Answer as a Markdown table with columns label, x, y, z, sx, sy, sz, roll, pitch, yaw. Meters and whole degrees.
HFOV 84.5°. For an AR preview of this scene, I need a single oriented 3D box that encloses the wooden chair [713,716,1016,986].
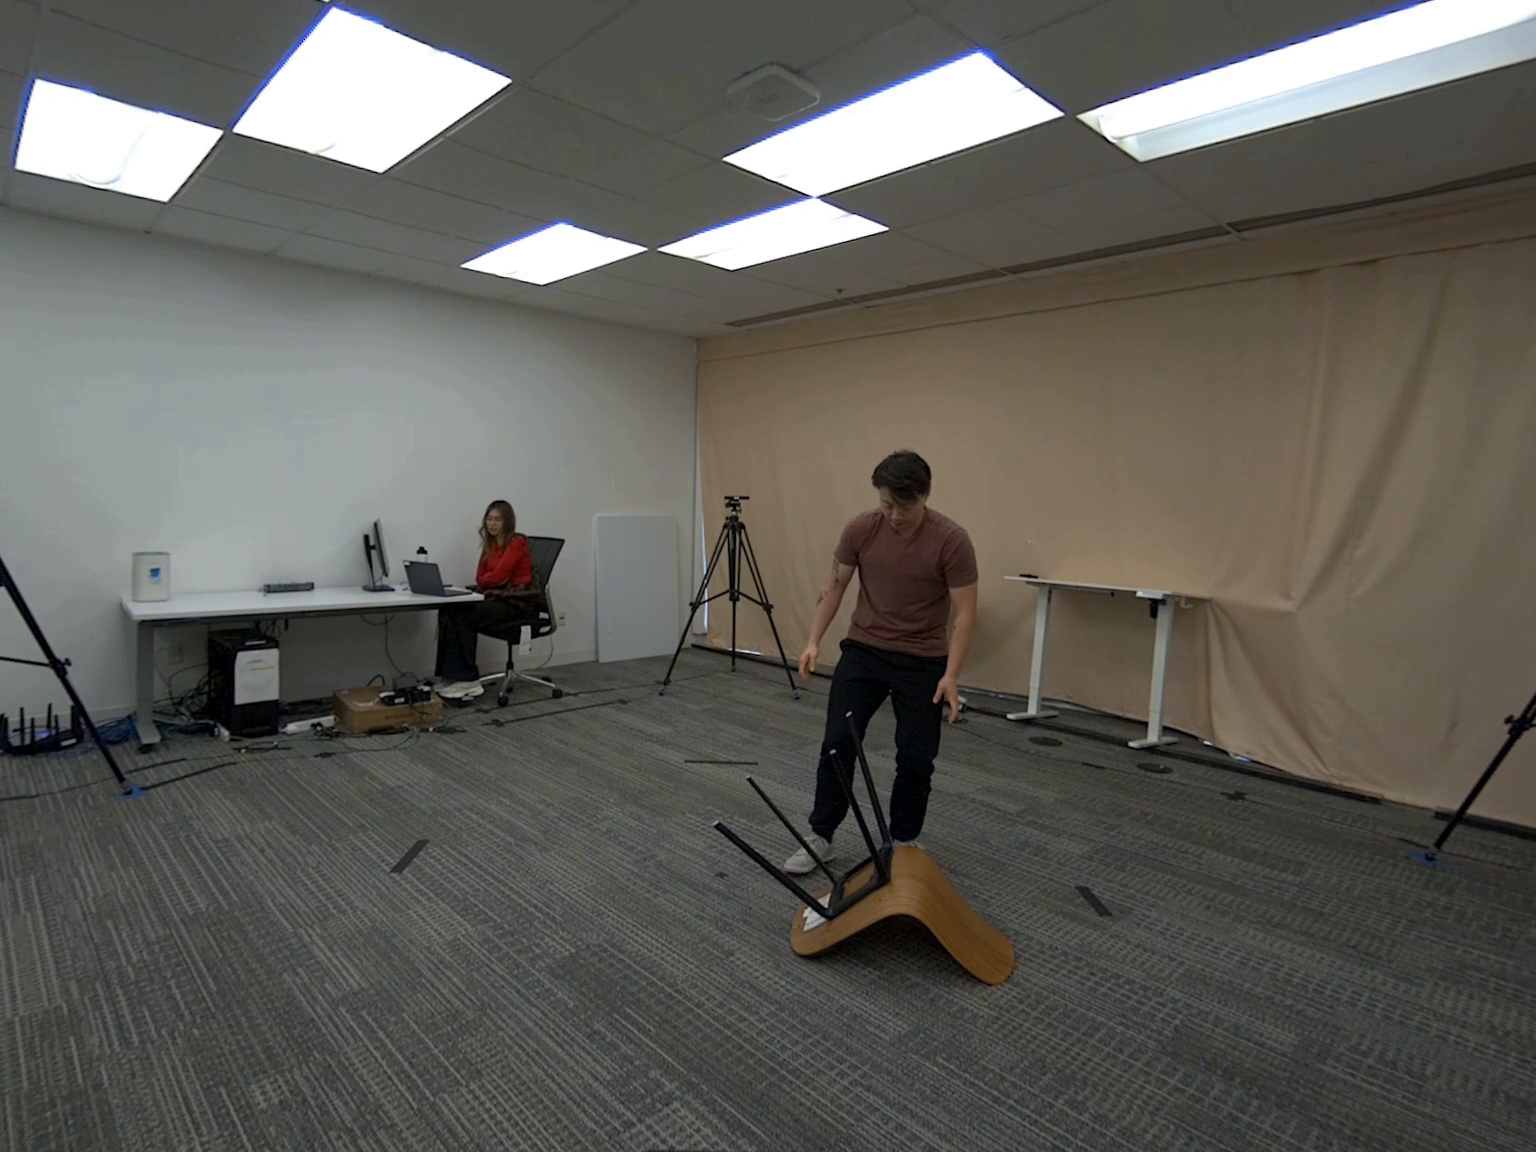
| label | x | y | z | sx | sy | sz | roll | pitch | yaw |
| --- | --- | --- | --- | --- | --- | --- | --- | --- | --- |
| wooden chair | 0.286 | 0.981 | 2.701 | 0.524 | 0.883 | 0.474 | -39 | -6 | 12 |
